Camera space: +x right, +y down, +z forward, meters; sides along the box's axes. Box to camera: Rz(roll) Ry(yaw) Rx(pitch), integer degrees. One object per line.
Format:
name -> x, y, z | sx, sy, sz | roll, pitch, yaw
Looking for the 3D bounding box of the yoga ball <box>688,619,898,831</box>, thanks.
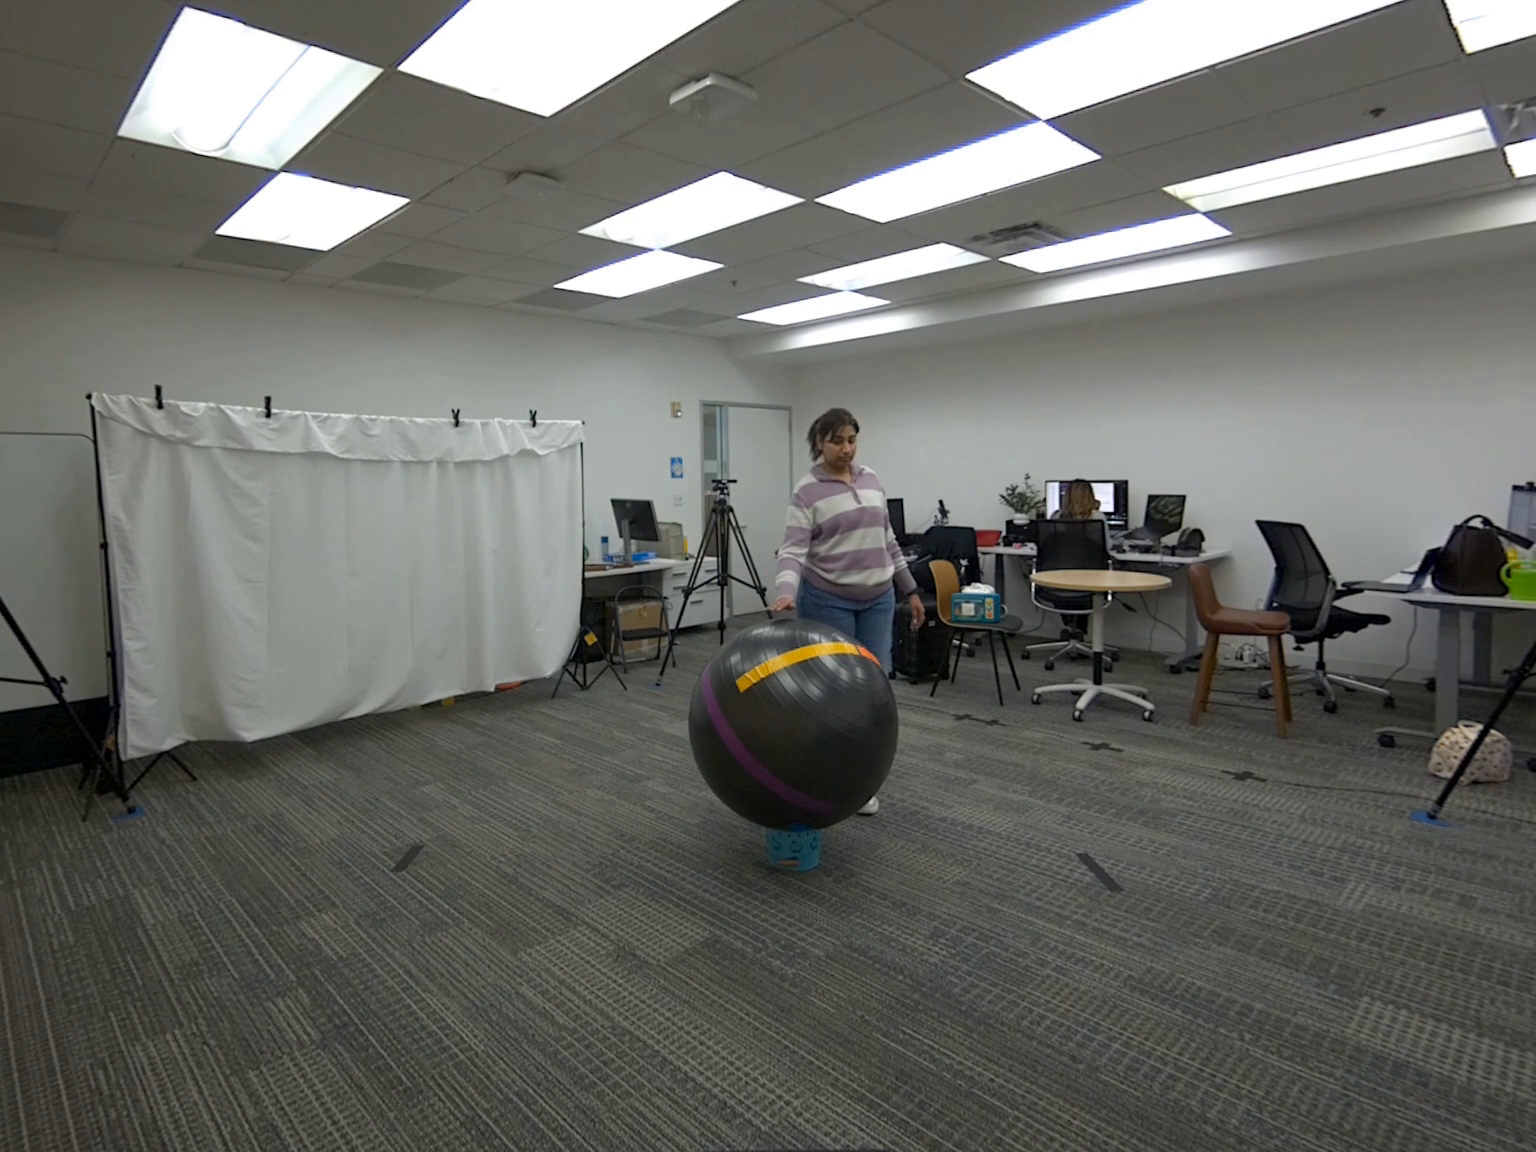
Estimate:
yoga ball -> 0.085, 0.535, 3.106 | 0.757, 0.755, 0.762 | -1, 5, -2
